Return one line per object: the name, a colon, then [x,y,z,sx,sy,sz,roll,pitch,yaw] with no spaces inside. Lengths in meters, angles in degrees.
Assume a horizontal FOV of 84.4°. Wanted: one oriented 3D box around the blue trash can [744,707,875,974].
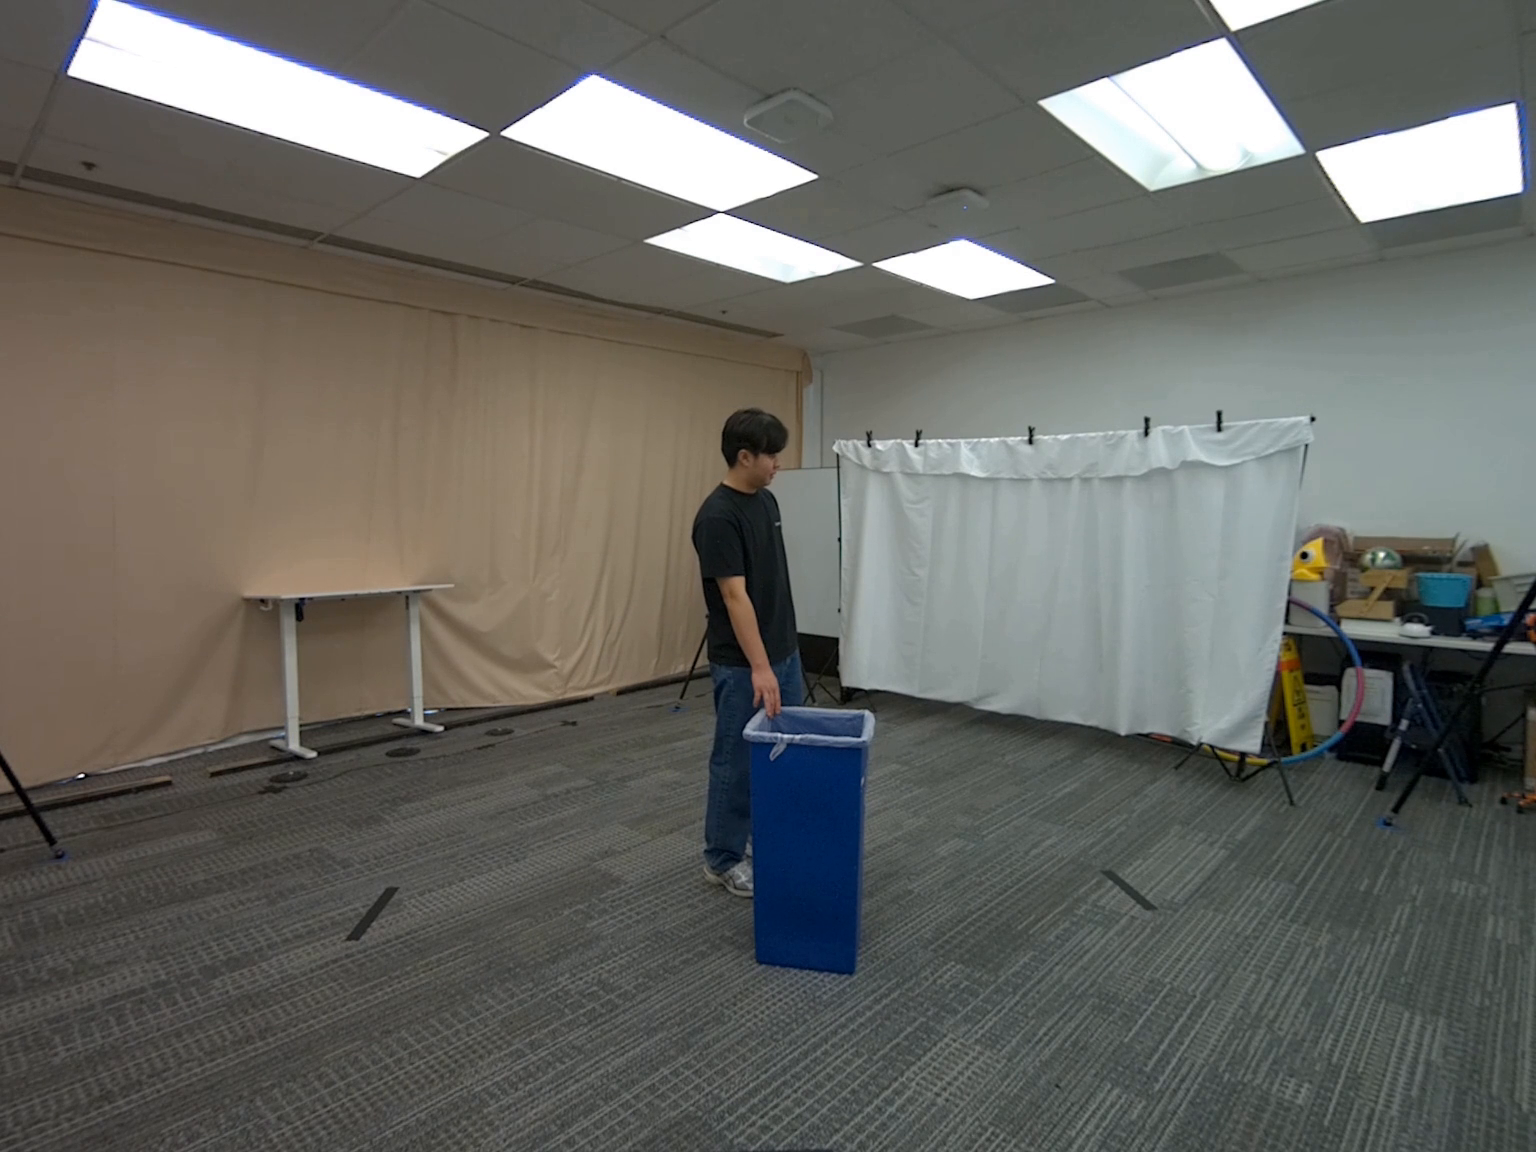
blue trash can: [0.143,0.813,2.649,0.383,0.713,0.369,0,2,12]
